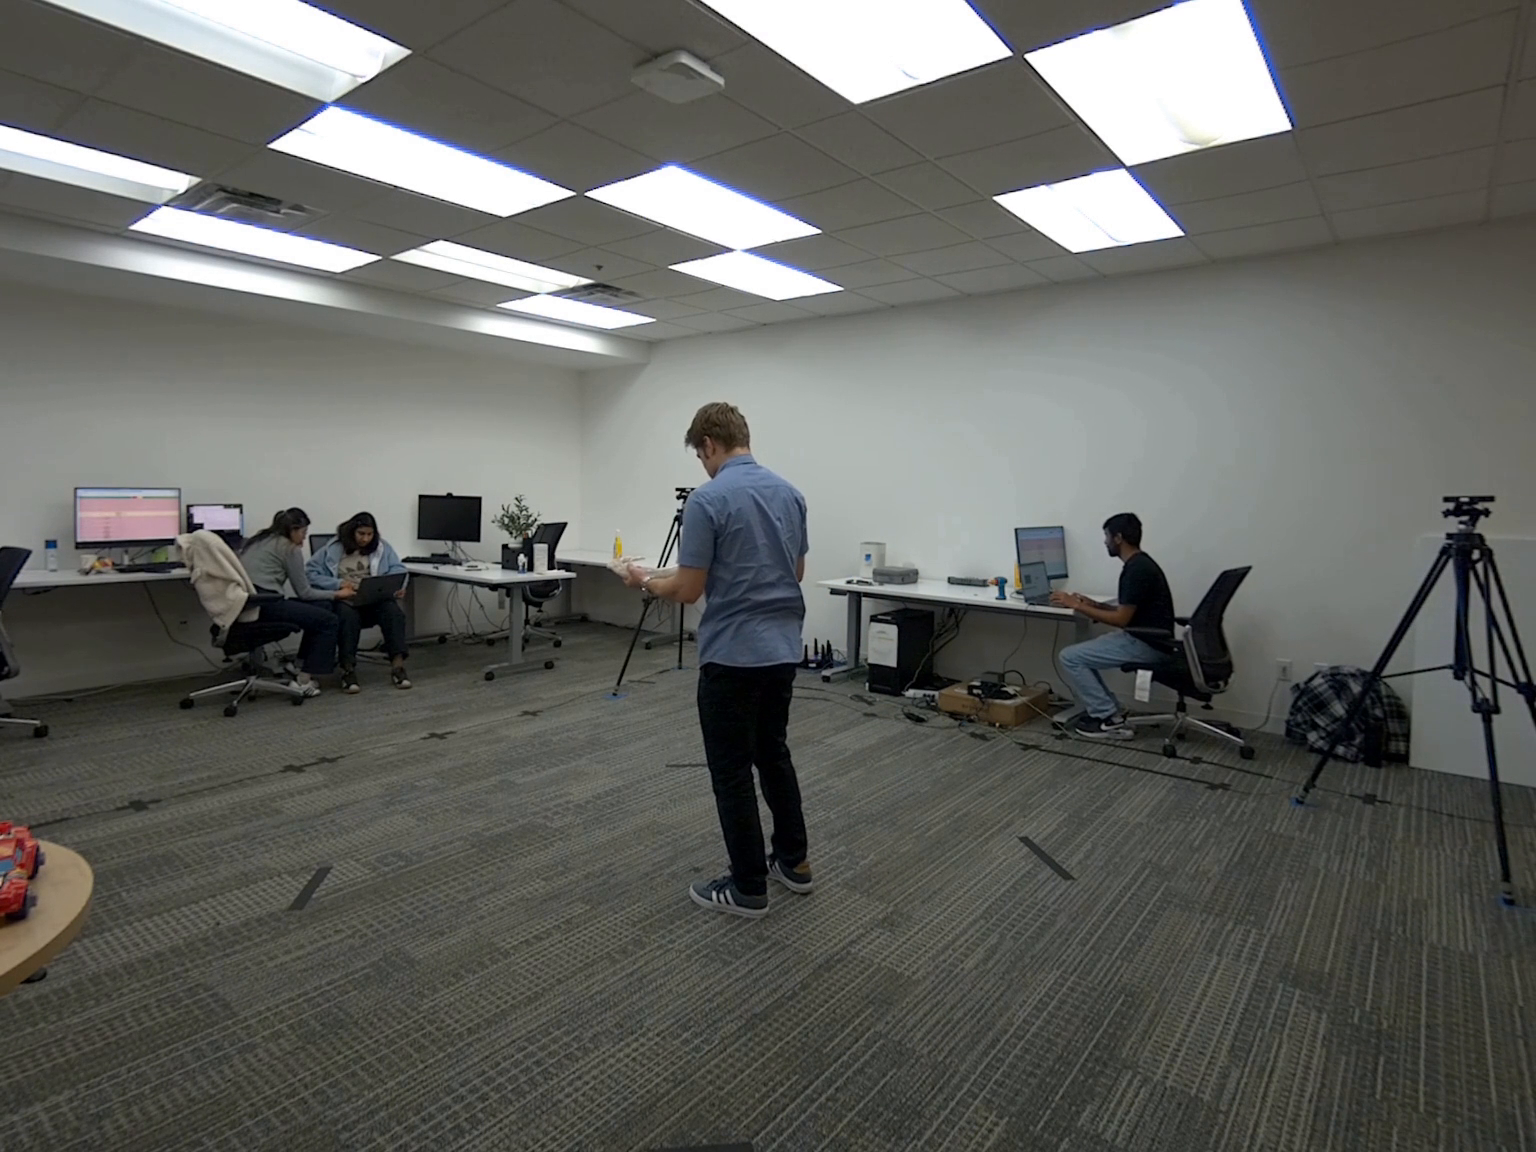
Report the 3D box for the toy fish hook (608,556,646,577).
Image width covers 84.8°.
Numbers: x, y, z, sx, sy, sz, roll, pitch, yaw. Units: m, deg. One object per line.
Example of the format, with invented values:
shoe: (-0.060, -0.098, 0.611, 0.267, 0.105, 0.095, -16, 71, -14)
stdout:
toy fish hook: (-0.356, -0.037, 3.111, 0.233, 0.048, 0.493, 18, 18, 38)
